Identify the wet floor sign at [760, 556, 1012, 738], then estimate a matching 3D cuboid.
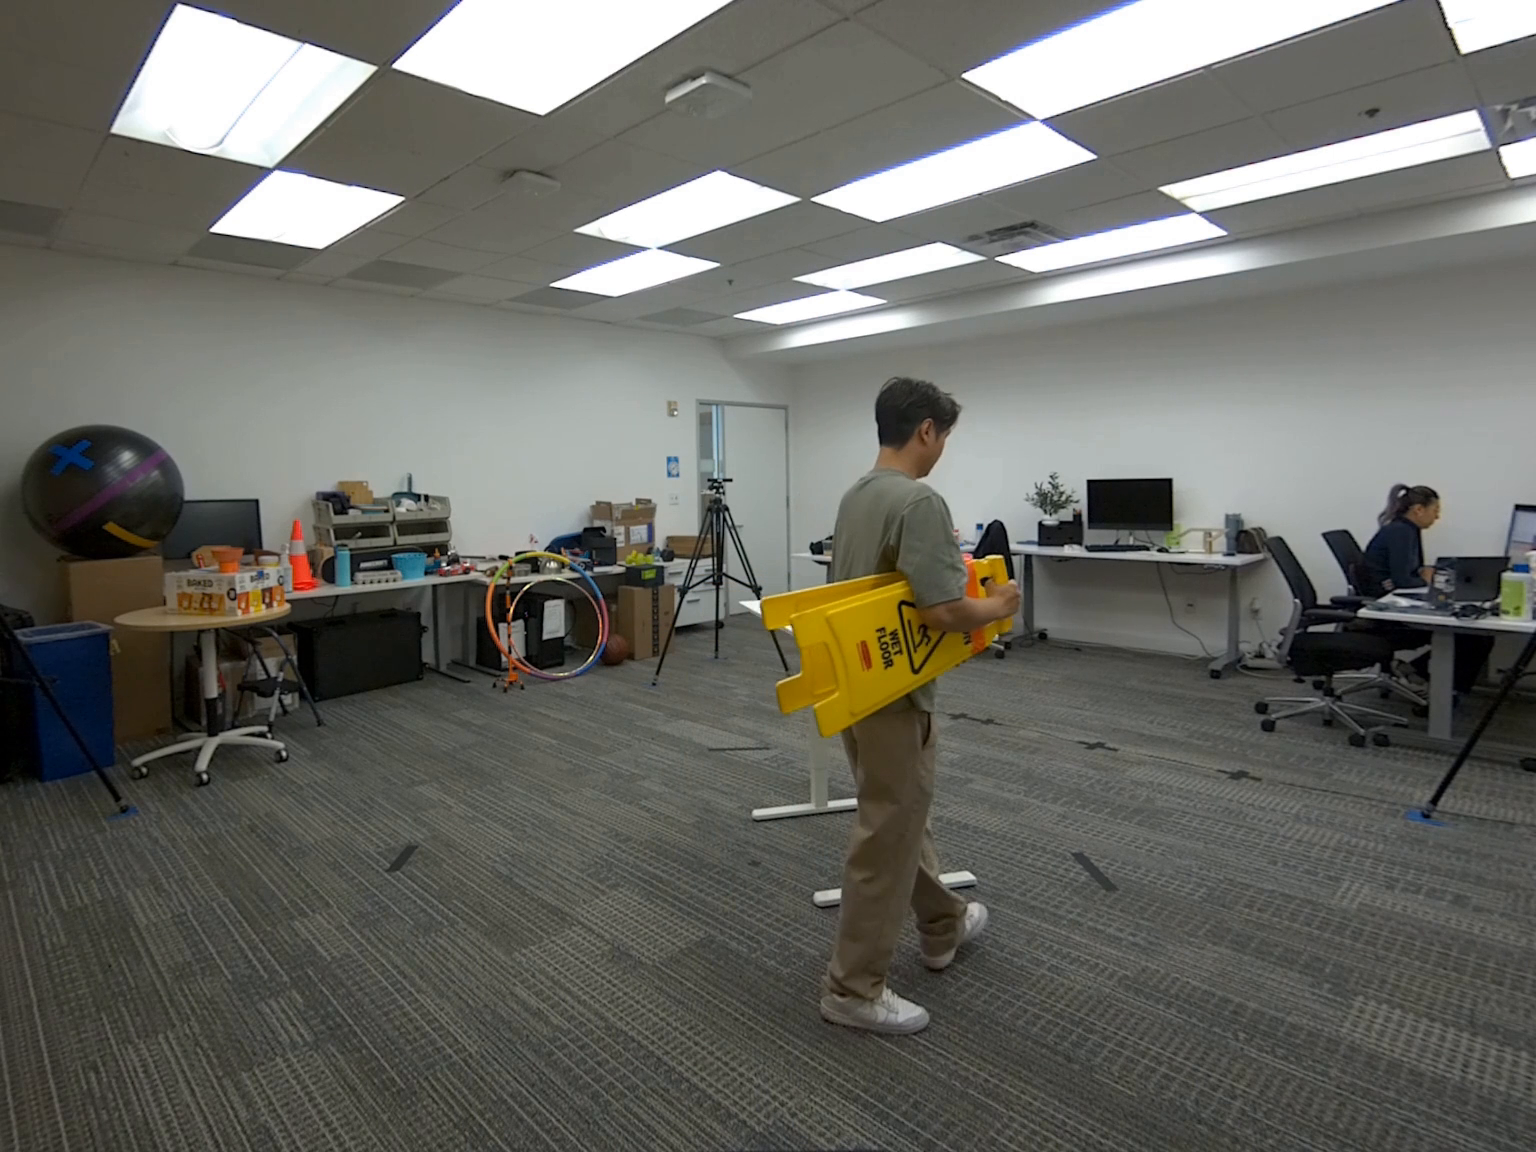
[{"bbox_3d":[0.316,0.137,2.039,0.637,0.279,0.297,-14,13,-19],"label":"wet floor sign"}]
